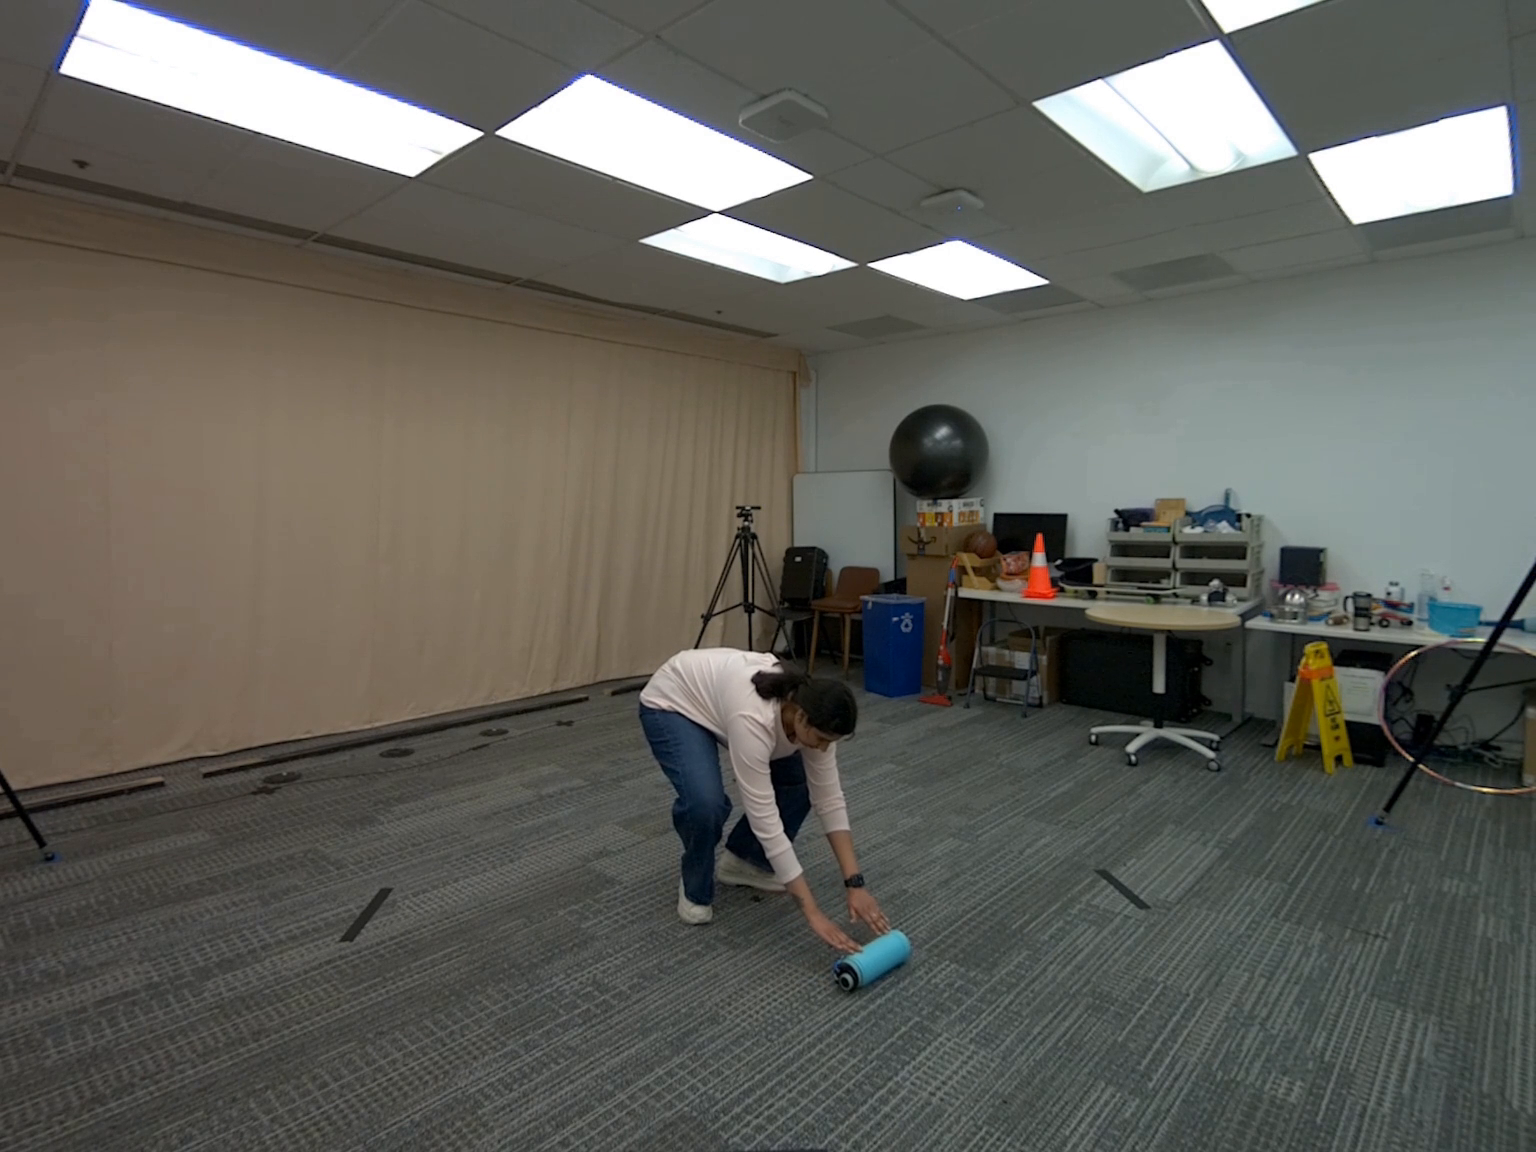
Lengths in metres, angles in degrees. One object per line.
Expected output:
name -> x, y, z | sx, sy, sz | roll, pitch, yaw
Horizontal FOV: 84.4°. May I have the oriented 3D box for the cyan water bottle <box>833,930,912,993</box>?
cyan water bottle -> 0.310, 1.139, 2.490 | 0.275, 0.092, 0.095 | -6, 7, -41
